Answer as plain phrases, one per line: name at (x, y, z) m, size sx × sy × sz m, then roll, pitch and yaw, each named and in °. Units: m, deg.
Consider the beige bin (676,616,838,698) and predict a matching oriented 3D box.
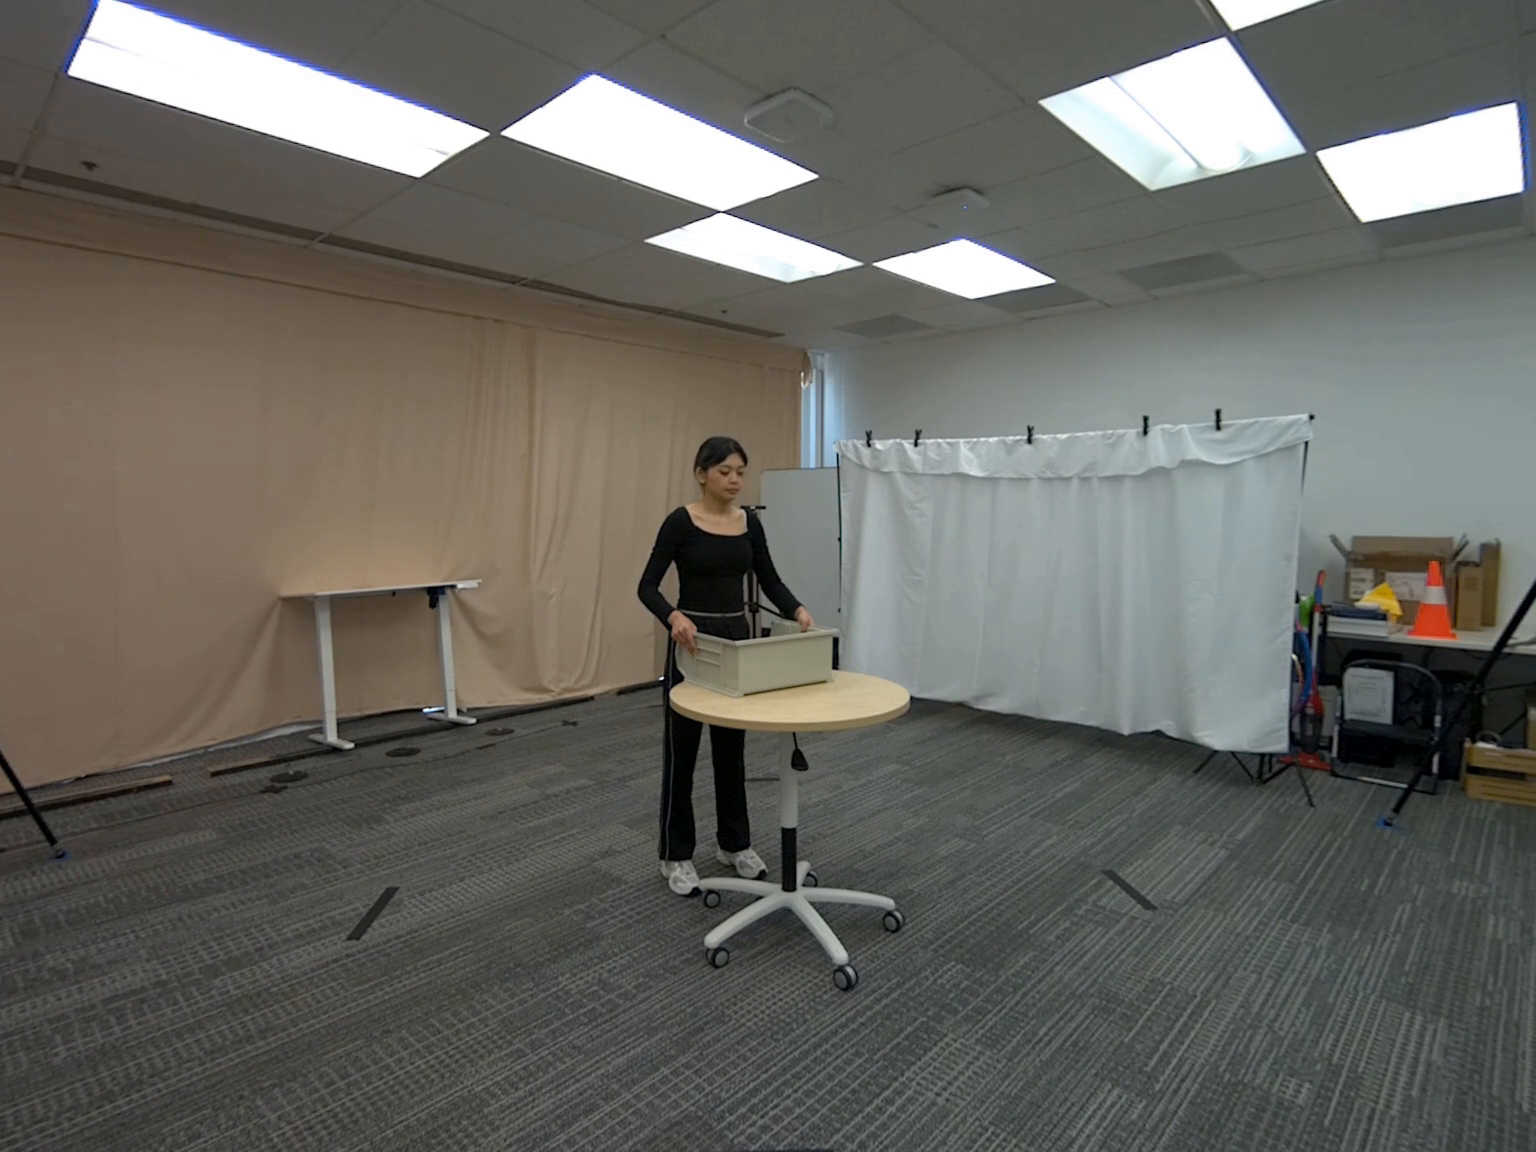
beige bin at (-0.048, 0.262, 2.883) m, size 0.410 × 0.188 × 0.390 m, roll -3°, pitch 8°, yaw -34°
